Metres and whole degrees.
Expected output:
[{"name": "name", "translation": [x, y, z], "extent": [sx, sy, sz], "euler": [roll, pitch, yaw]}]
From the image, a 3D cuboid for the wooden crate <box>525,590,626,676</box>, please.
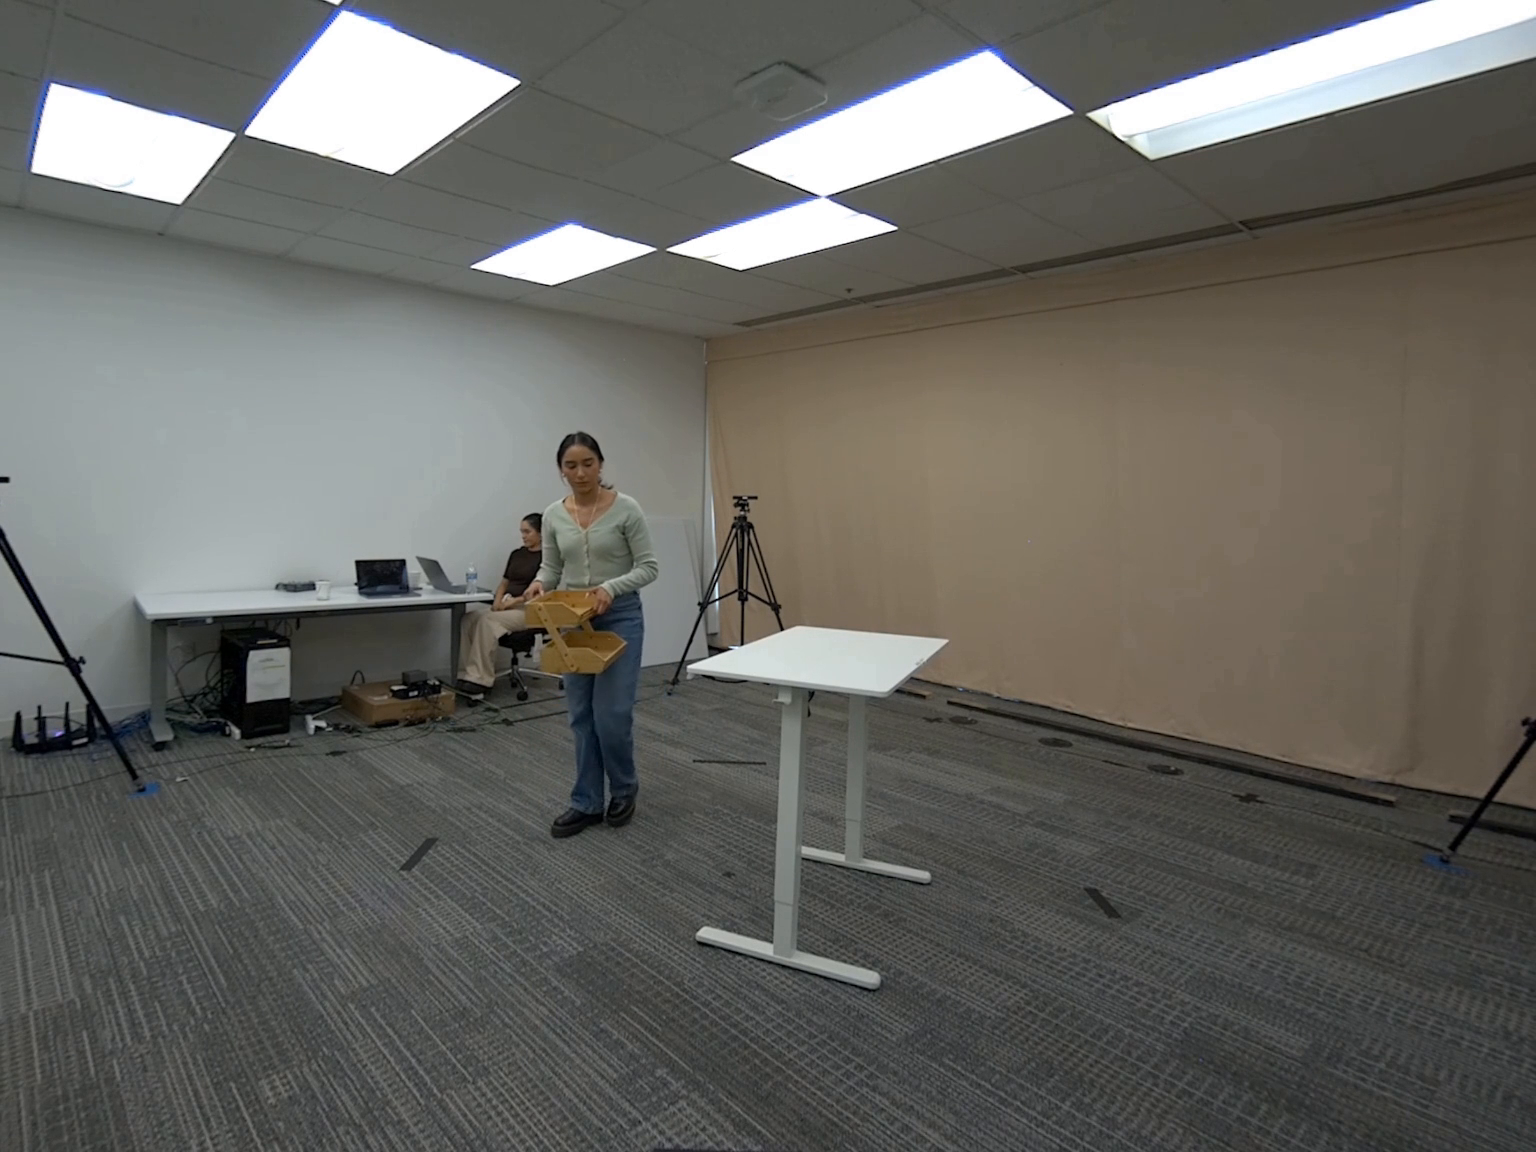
[{"name": "wooden crate", "translation": [-0.748, 0.207, 3.234], "extent": [0.304, 0.272, 0.324], "euler": [-2, 7, 7]}]
